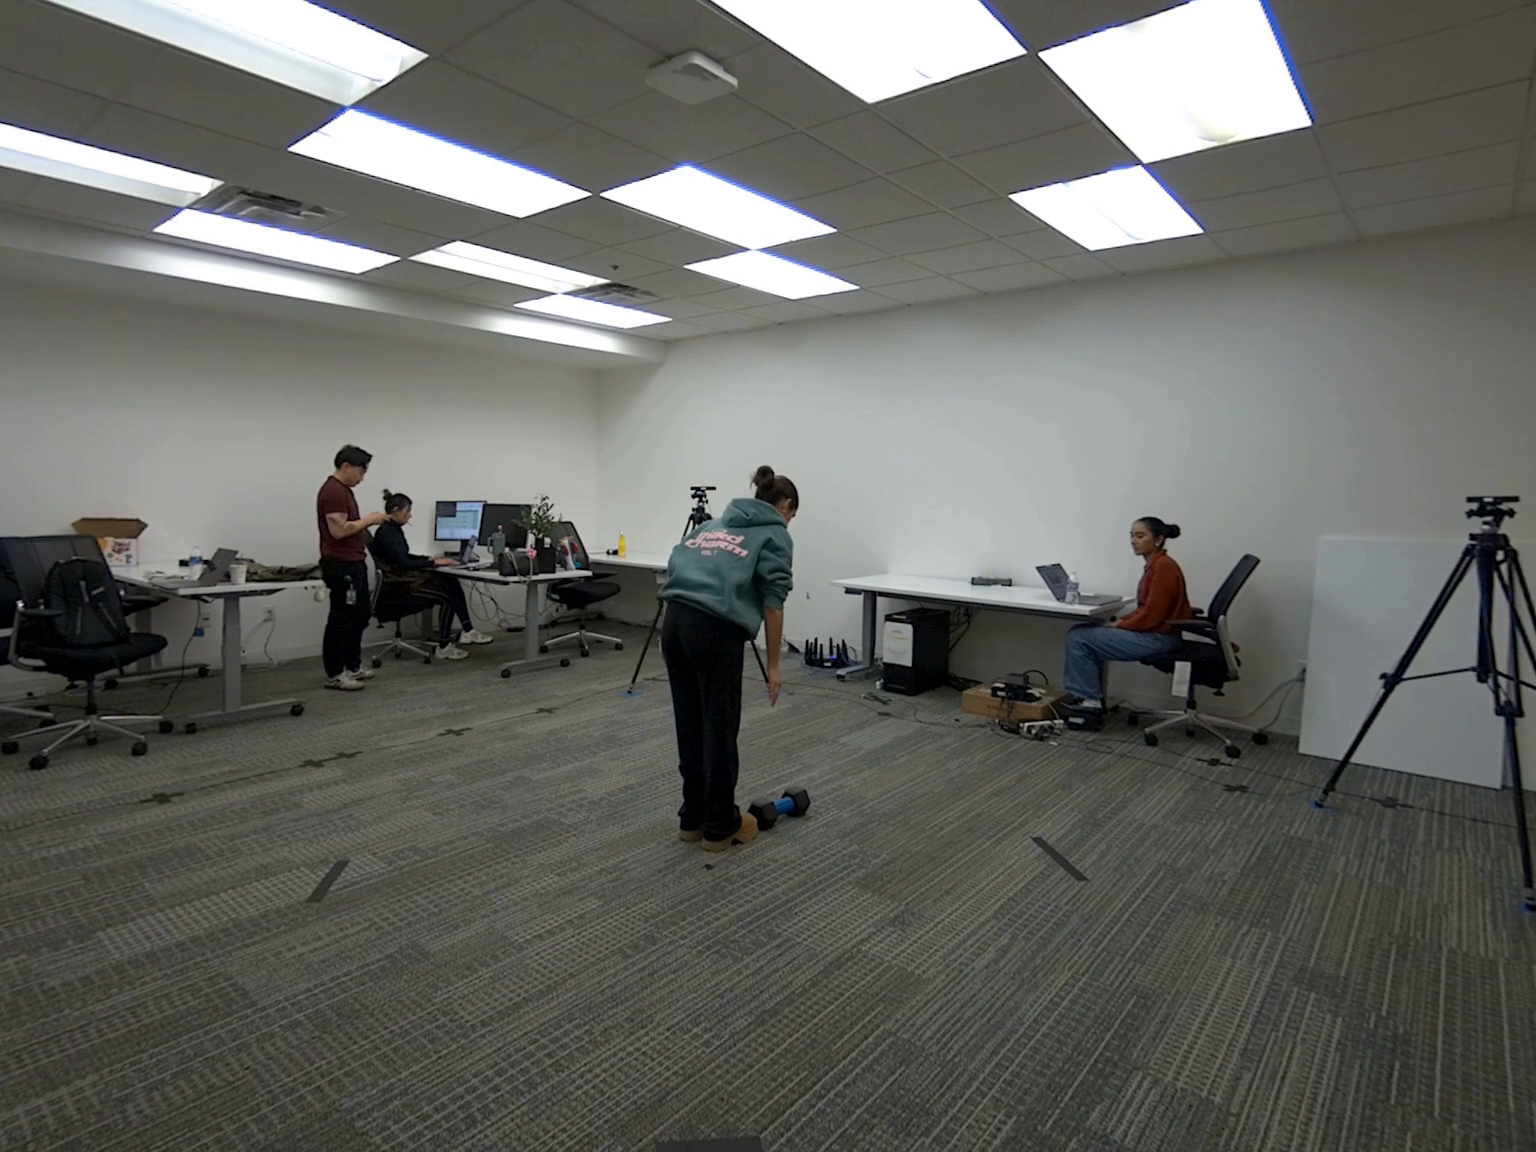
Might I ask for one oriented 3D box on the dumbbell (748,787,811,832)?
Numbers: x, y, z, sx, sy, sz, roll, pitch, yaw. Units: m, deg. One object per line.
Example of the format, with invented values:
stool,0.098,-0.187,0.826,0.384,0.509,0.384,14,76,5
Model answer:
dumbbell,0.042,0.971,3.575,0.285,0.125,0.110,-5,-23,-47
